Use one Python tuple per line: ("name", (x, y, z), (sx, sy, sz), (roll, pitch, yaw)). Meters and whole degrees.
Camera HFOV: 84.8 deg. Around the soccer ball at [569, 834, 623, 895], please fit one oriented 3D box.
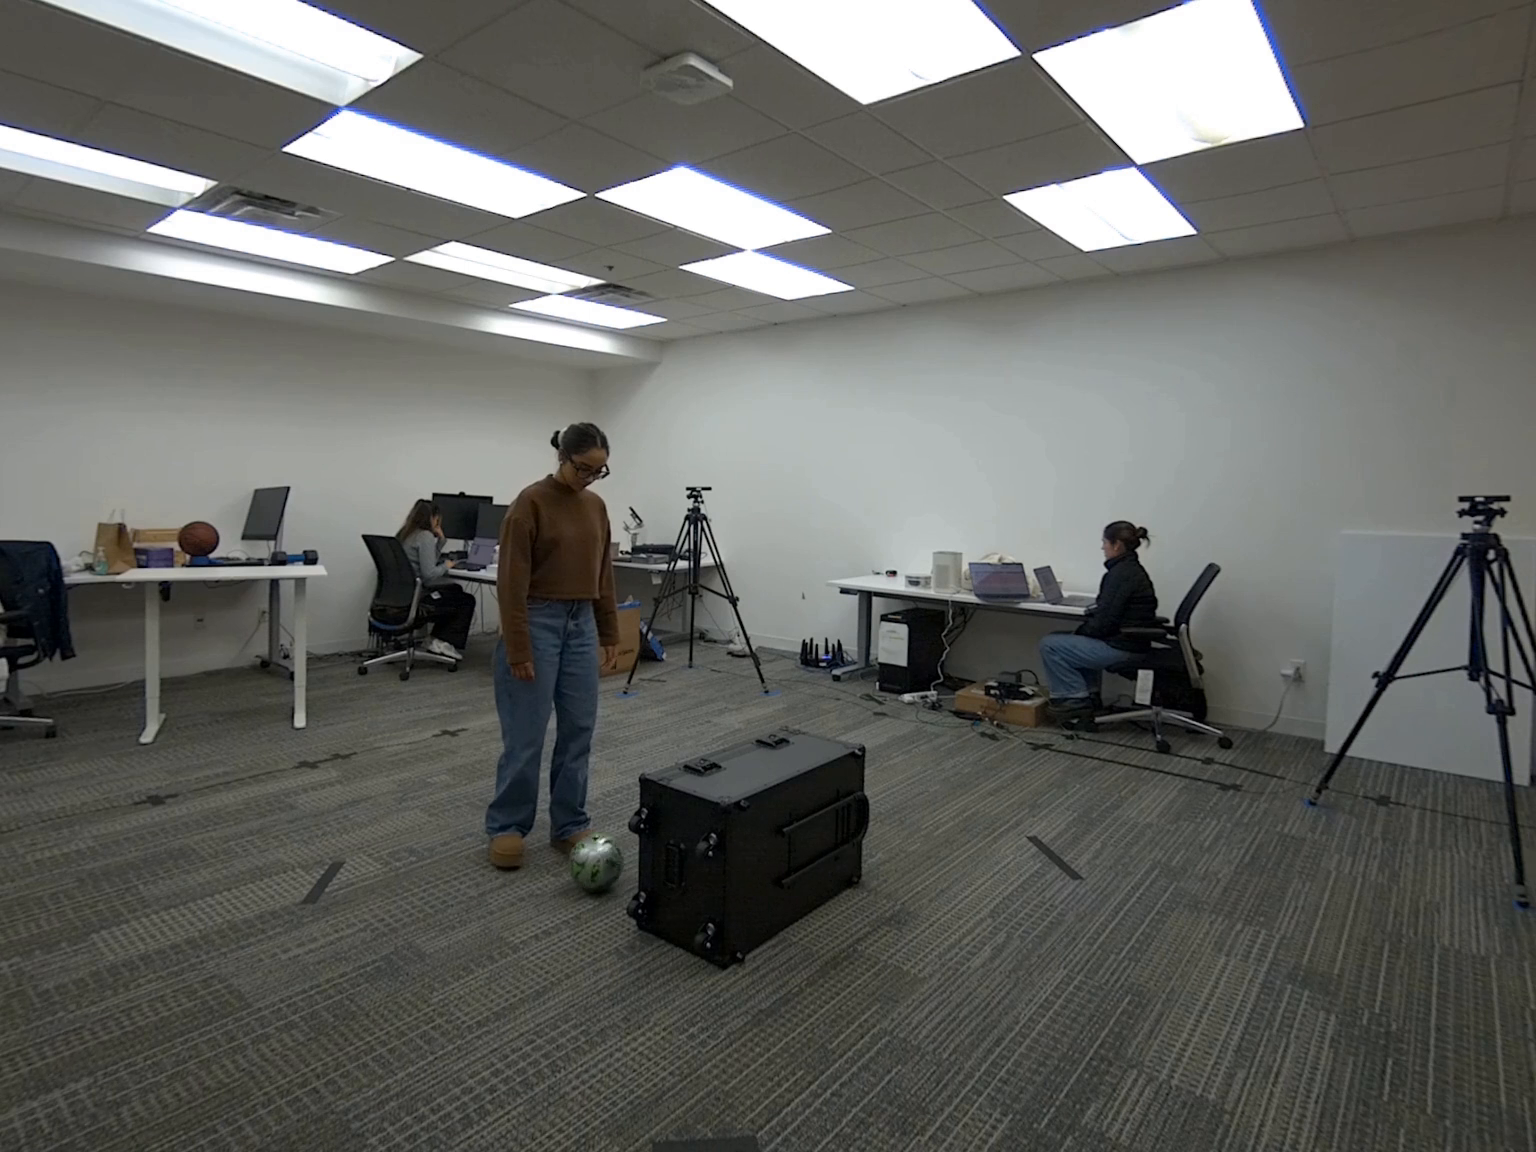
("soccer ball", (-0.599, 0.984, 2.934), (0.187, 0.187, 0.188), (1, 4, -2))
